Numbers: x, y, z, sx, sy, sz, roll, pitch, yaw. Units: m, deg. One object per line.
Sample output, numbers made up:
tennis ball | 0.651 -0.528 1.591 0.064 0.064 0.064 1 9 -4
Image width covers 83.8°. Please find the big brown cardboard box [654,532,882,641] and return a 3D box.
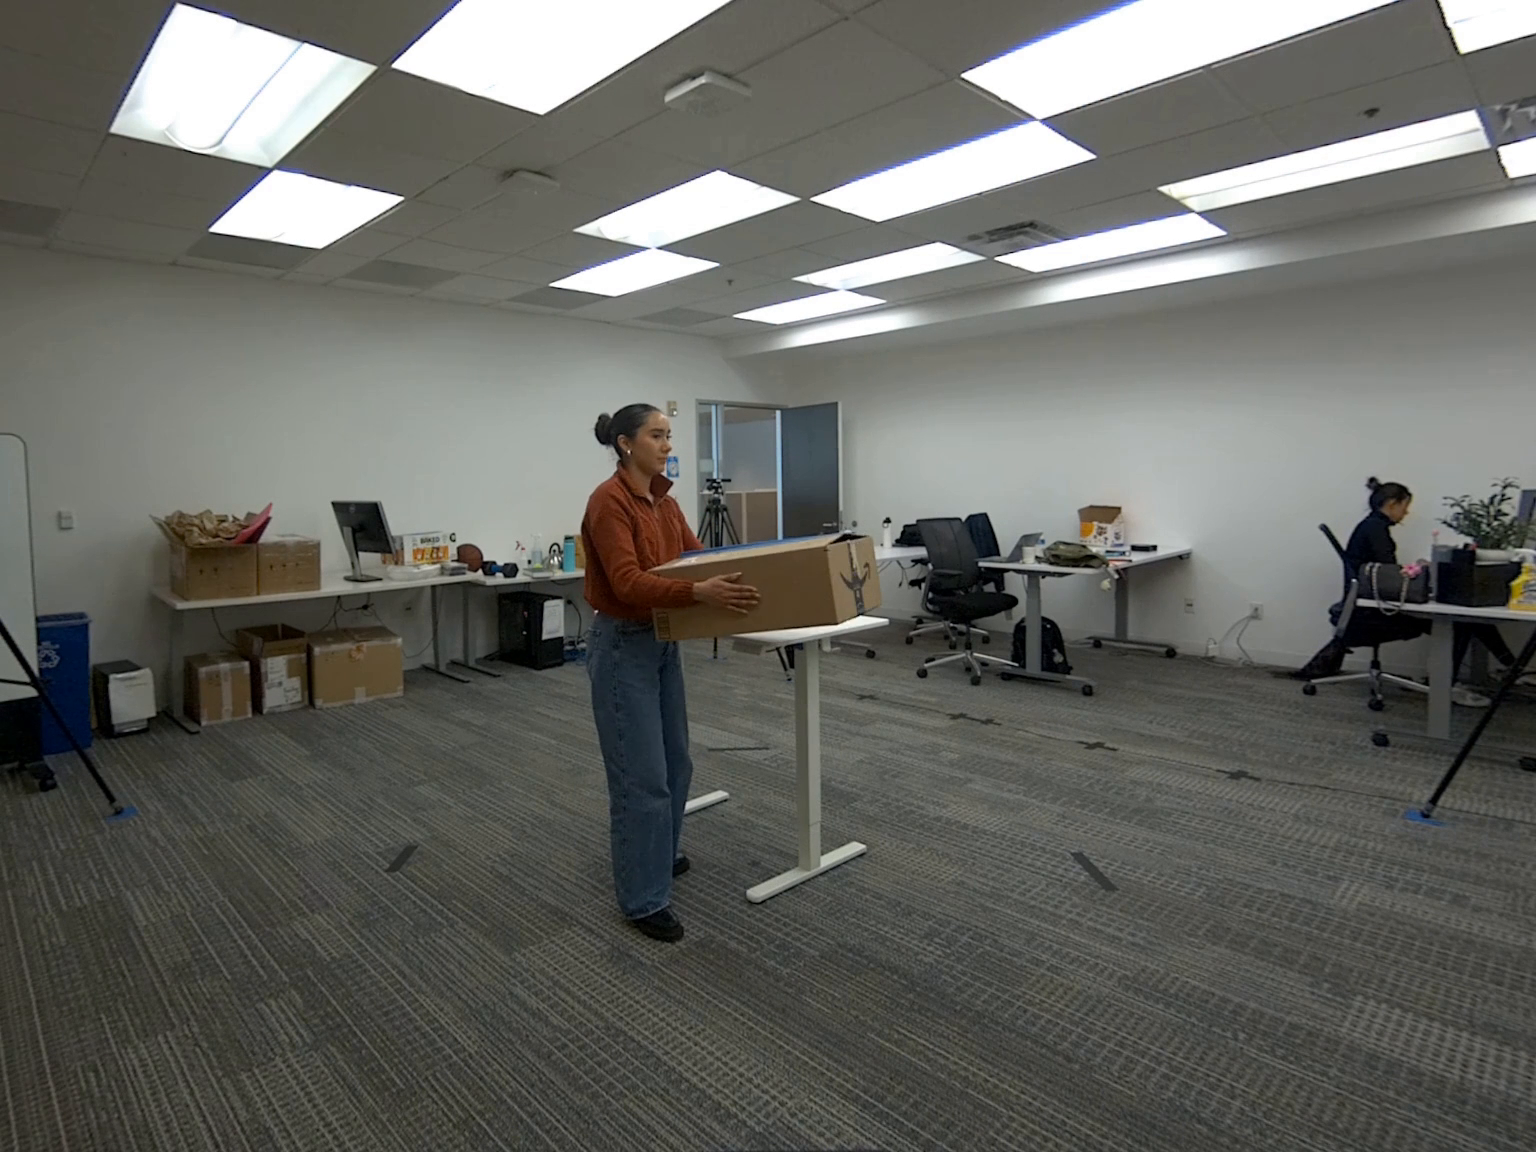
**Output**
big brown cardboard box | -0.009 0.035 2.564 0.601 0.233 0.410 -6 3 25
